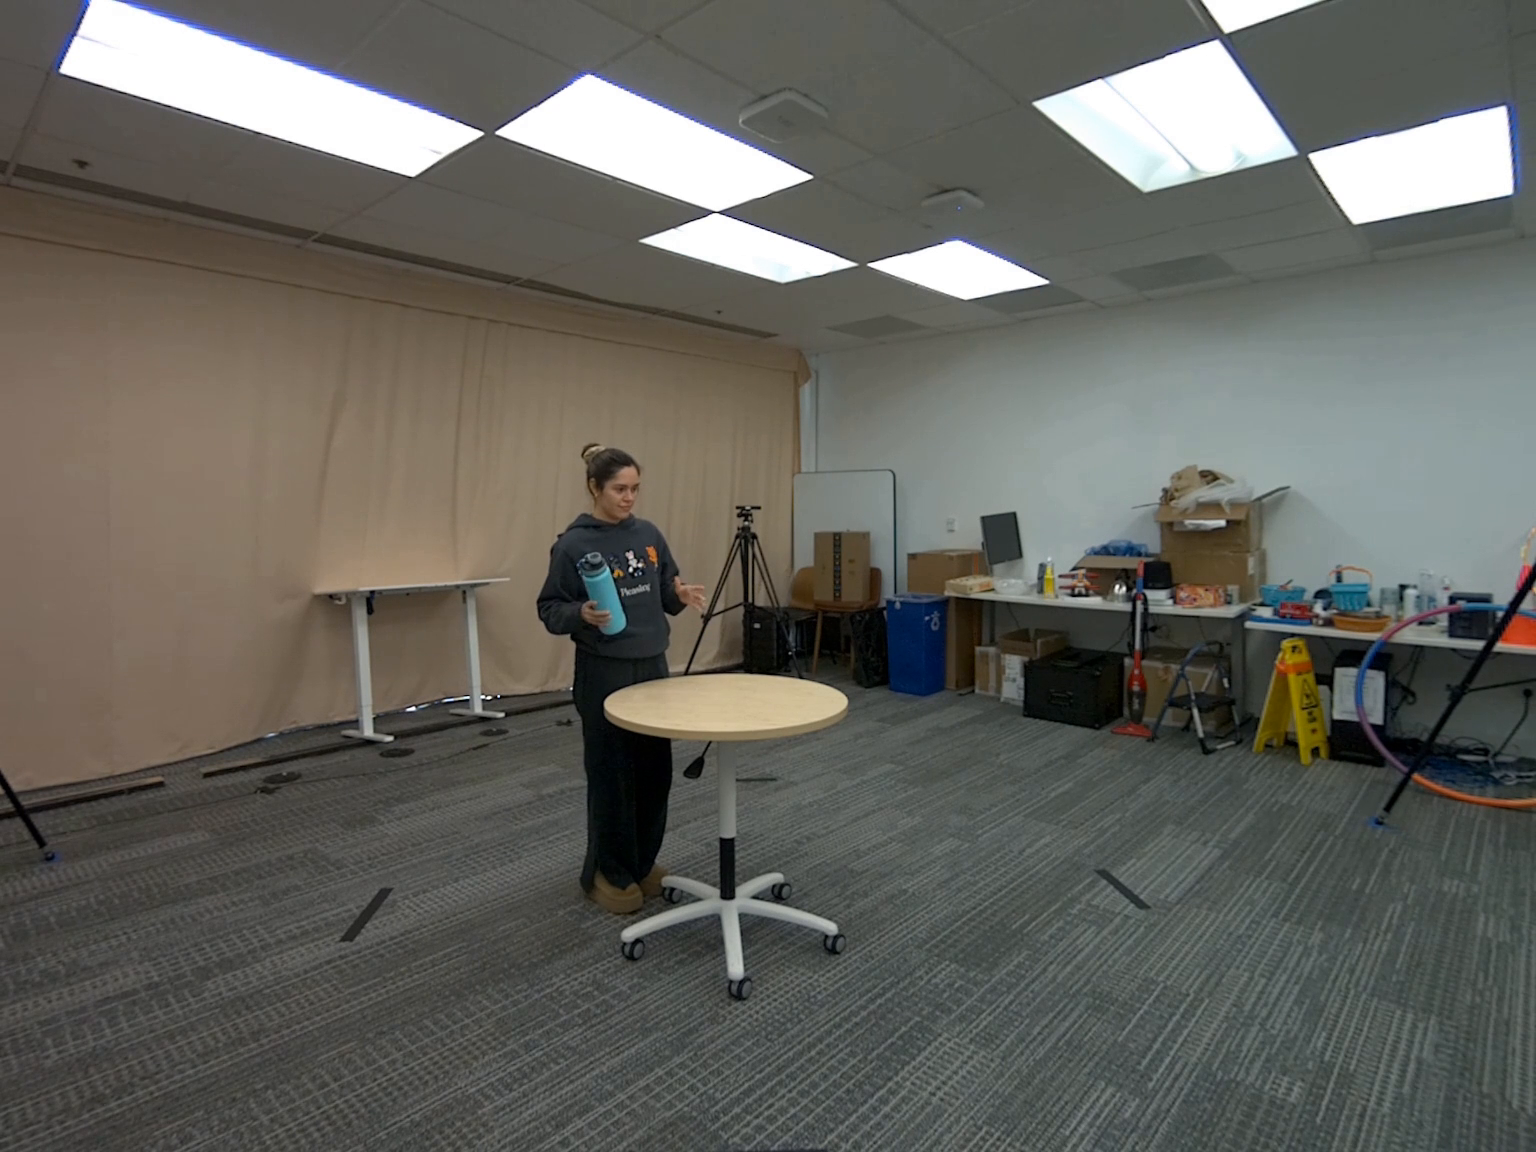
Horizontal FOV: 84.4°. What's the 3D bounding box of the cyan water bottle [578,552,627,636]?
[{"bbox_3d":[-0.508,0.031,2.684,0.093,0.277,0.094,-9,33,4],"label":"cyan water bottle"}]
